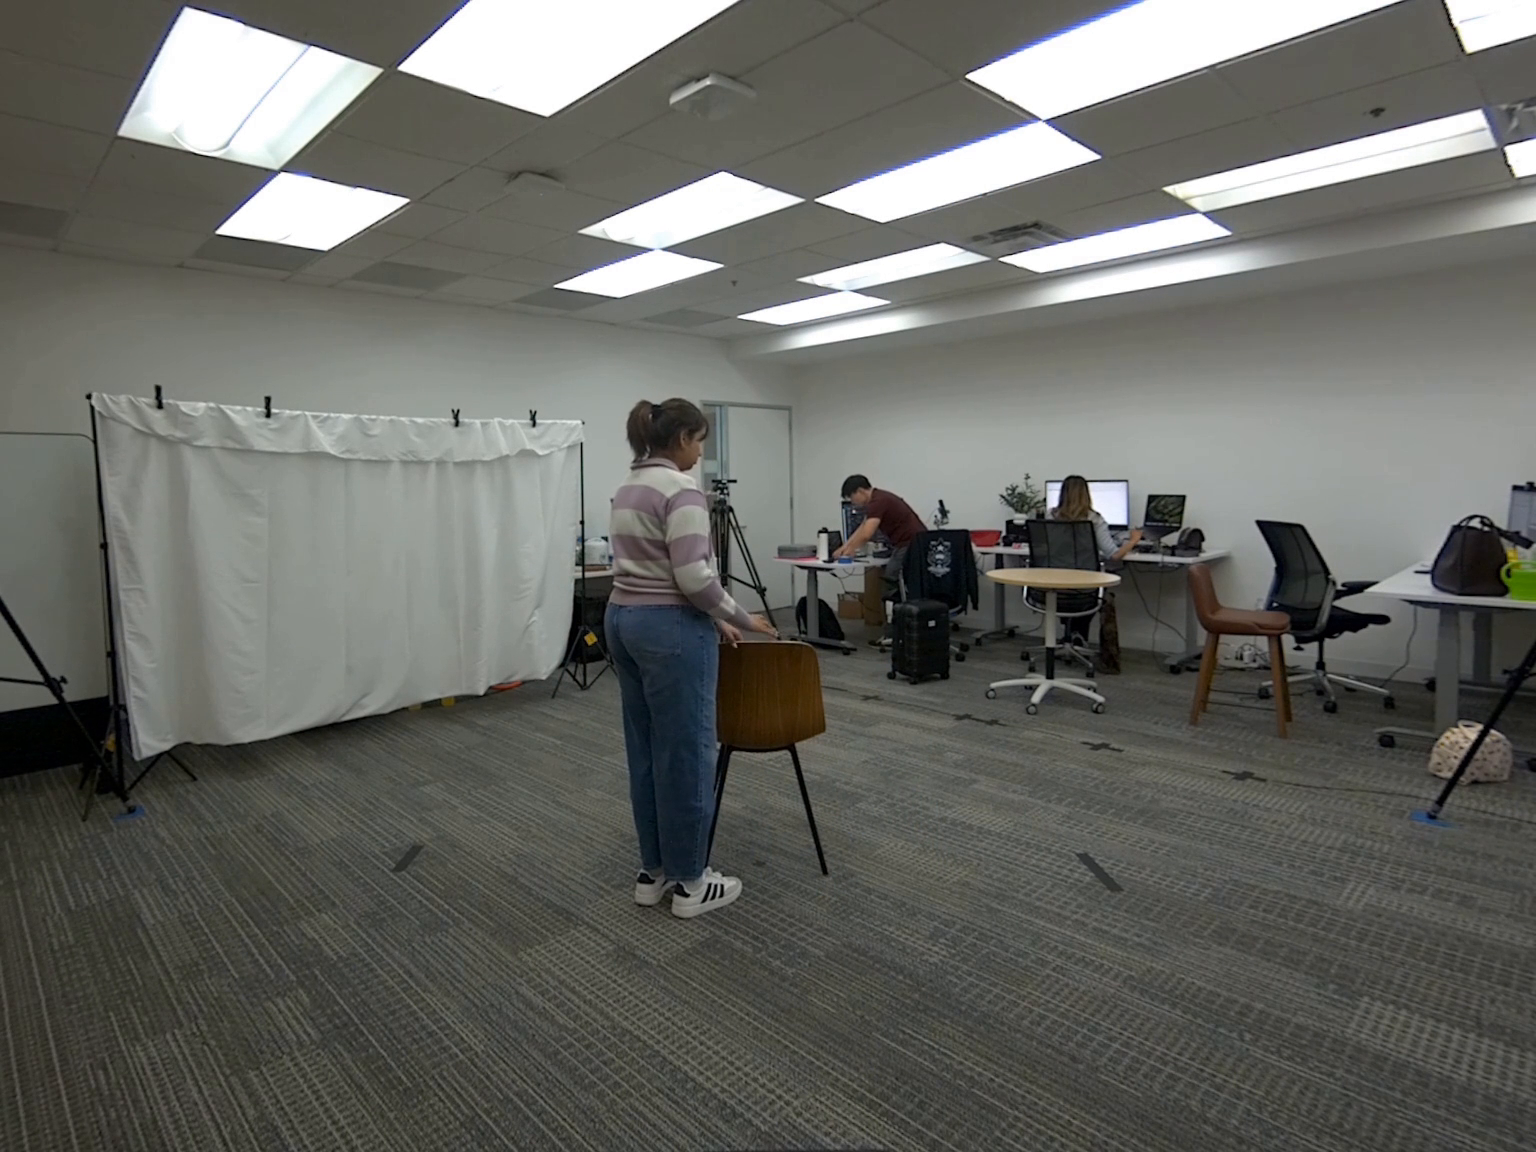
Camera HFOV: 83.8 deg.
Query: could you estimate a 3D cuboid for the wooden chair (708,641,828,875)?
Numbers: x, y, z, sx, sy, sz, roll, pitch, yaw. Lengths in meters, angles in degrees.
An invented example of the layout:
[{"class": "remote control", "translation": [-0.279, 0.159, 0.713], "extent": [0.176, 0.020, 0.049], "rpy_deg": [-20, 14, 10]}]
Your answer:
[{"class": "wooden chair", "translation": [-0.032, 0.603, 3.211], "extent": [0.477, 0.871, 0.528], "rpy_deg": [-2, 8, -3]}]
